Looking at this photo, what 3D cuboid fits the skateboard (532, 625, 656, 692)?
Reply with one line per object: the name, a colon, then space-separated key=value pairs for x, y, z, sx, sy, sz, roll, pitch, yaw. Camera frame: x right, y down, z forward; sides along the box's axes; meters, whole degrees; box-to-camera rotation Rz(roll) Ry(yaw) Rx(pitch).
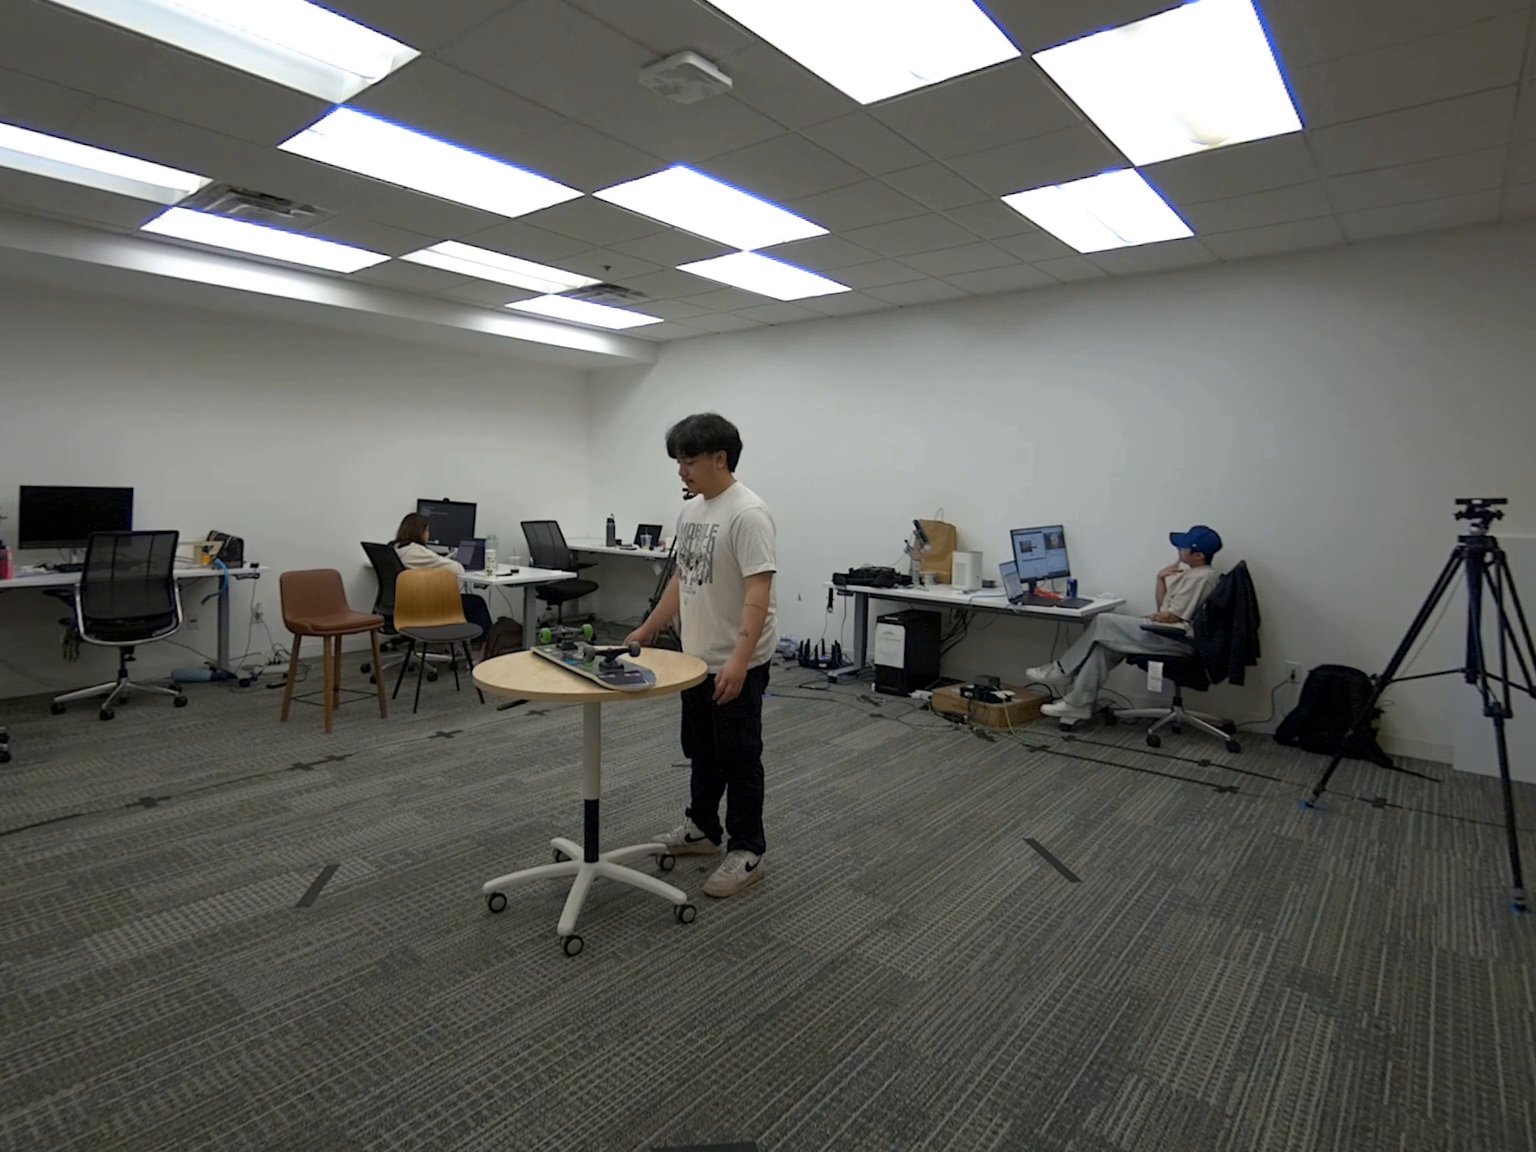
skateboard: x=-0.608 y=0.248 z=2.815 sx=0.188 sy=0.110 sz=0.811 roll=-3 pitch=7 yaw=-33
